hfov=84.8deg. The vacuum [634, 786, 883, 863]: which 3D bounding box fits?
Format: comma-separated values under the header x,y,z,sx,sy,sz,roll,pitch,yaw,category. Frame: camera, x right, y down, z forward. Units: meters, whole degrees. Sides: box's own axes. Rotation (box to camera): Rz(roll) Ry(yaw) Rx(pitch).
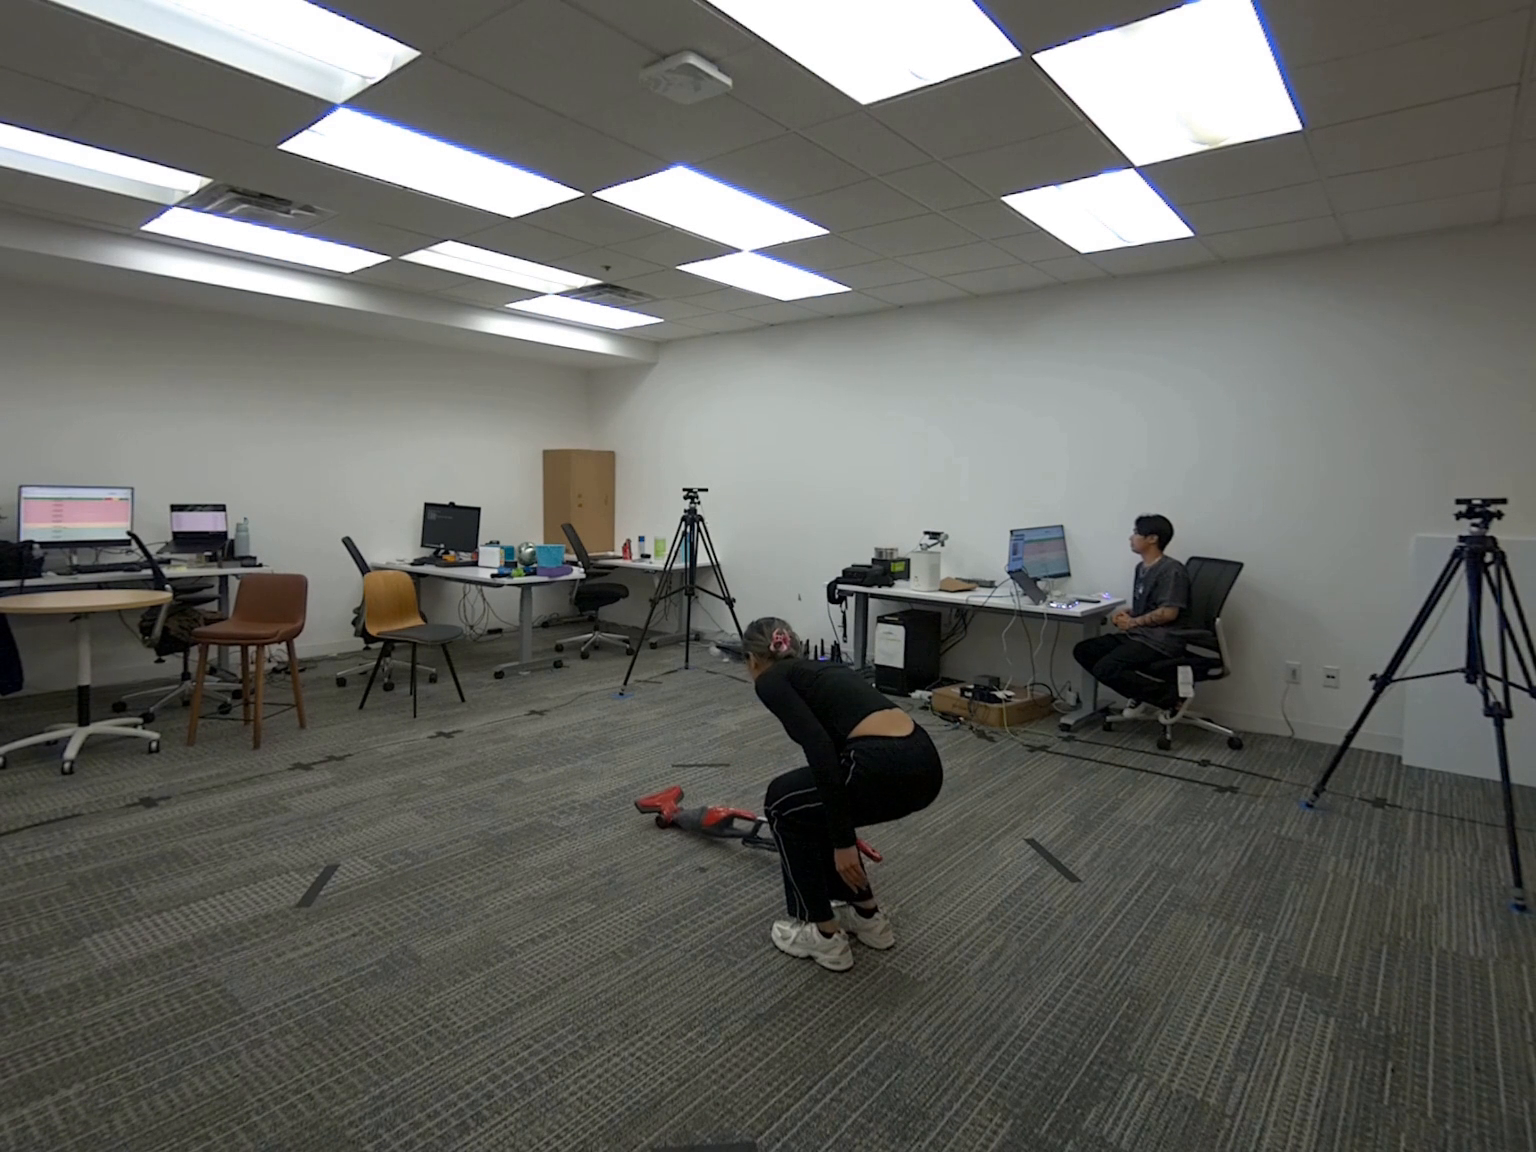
x,y,z,sx,sy,sz,roll,pitch,yaw,category
-0.051,0.960,3.198,1.082,0.144,0.244,0,0,42,vacuum
